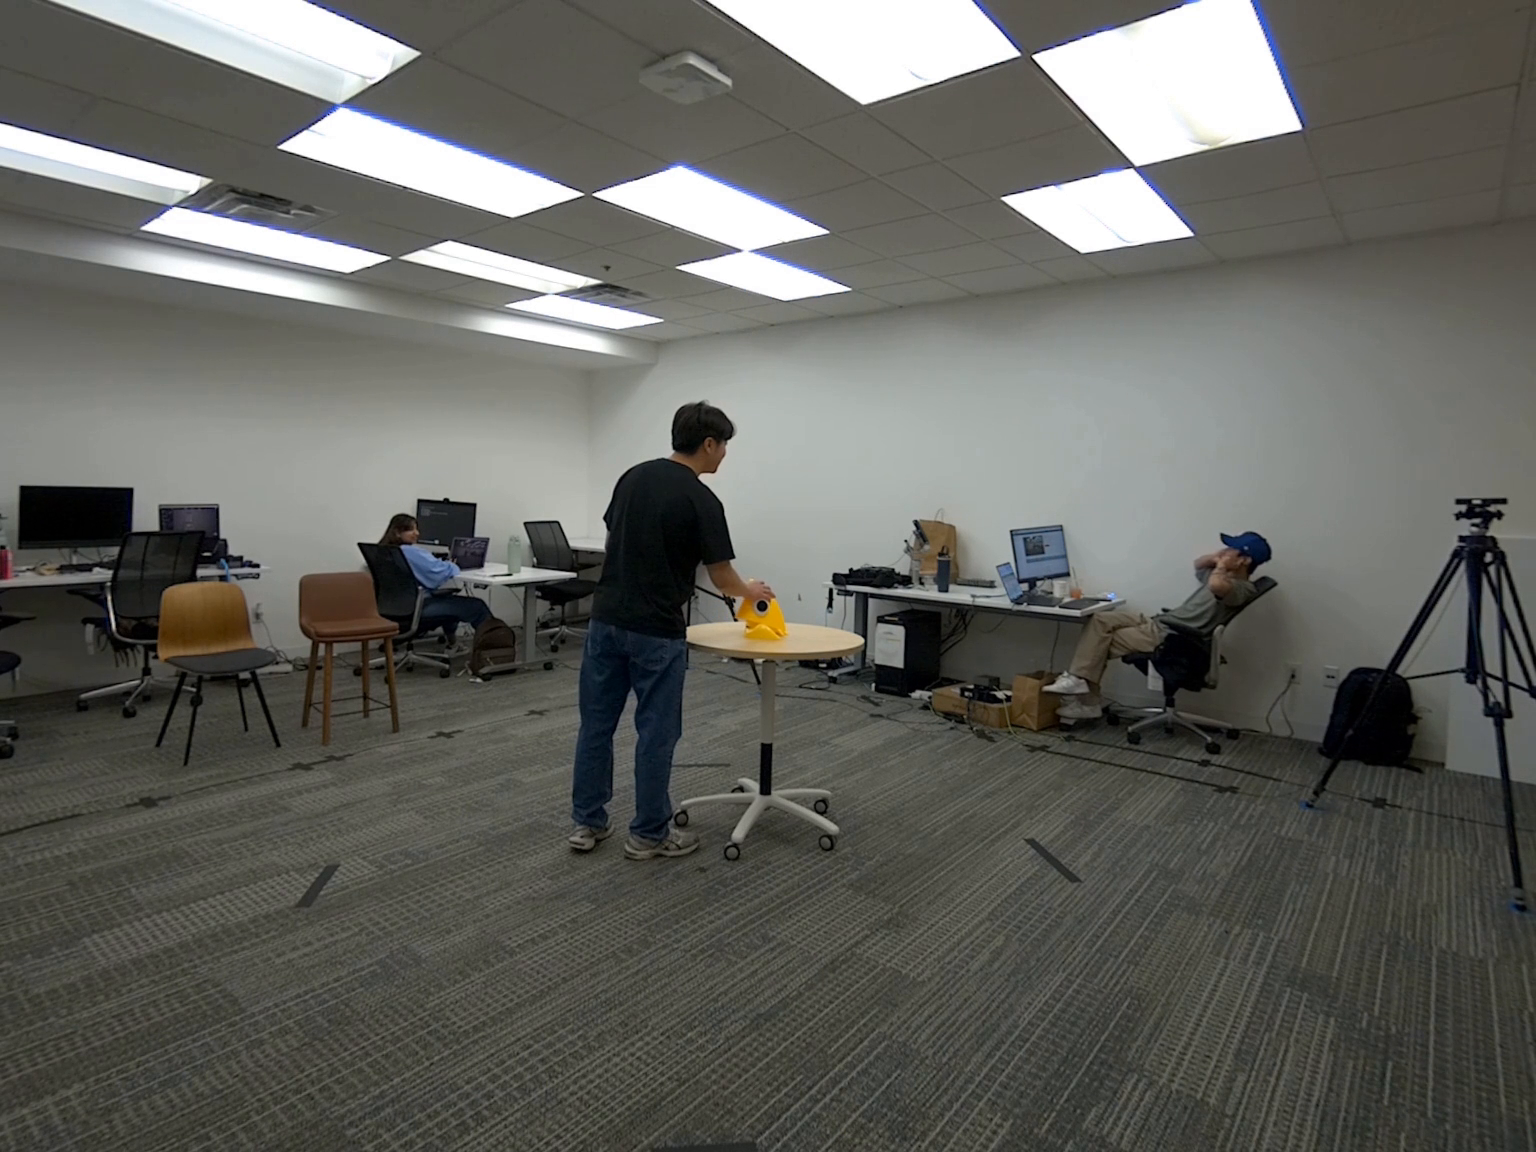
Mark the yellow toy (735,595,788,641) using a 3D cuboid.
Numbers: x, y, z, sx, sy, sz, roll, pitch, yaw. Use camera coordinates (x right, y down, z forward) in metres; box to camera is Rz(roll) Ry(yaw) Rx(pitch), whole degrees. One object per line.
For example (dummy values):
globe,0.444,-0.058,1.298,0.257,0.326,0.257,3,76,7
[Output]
yellow toy,-0.026,0.130,3.472,0.197,0.230,0.201,3,4,19
